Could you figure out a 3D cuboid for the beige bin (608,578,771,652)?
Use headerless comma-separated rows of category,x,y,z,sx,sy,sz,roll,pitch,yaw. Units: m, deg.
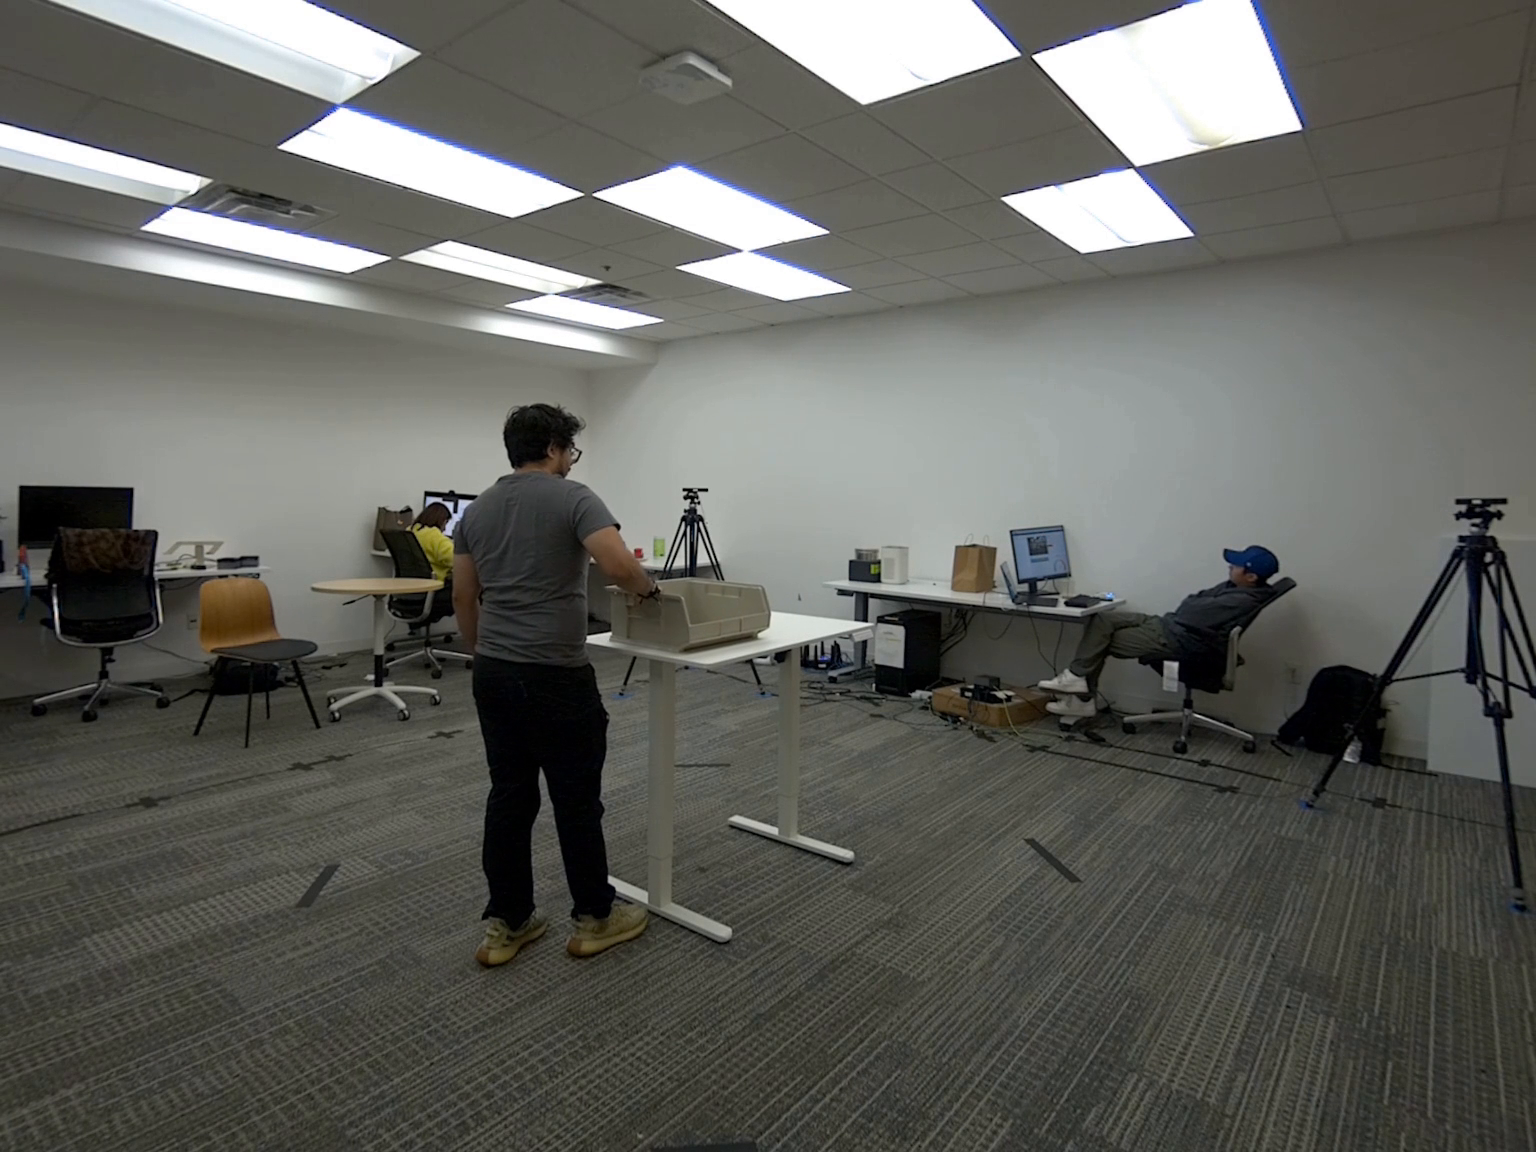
beige bin,-0.270,0.123,2.855,0.389,0.188,0.410,2,5,39
